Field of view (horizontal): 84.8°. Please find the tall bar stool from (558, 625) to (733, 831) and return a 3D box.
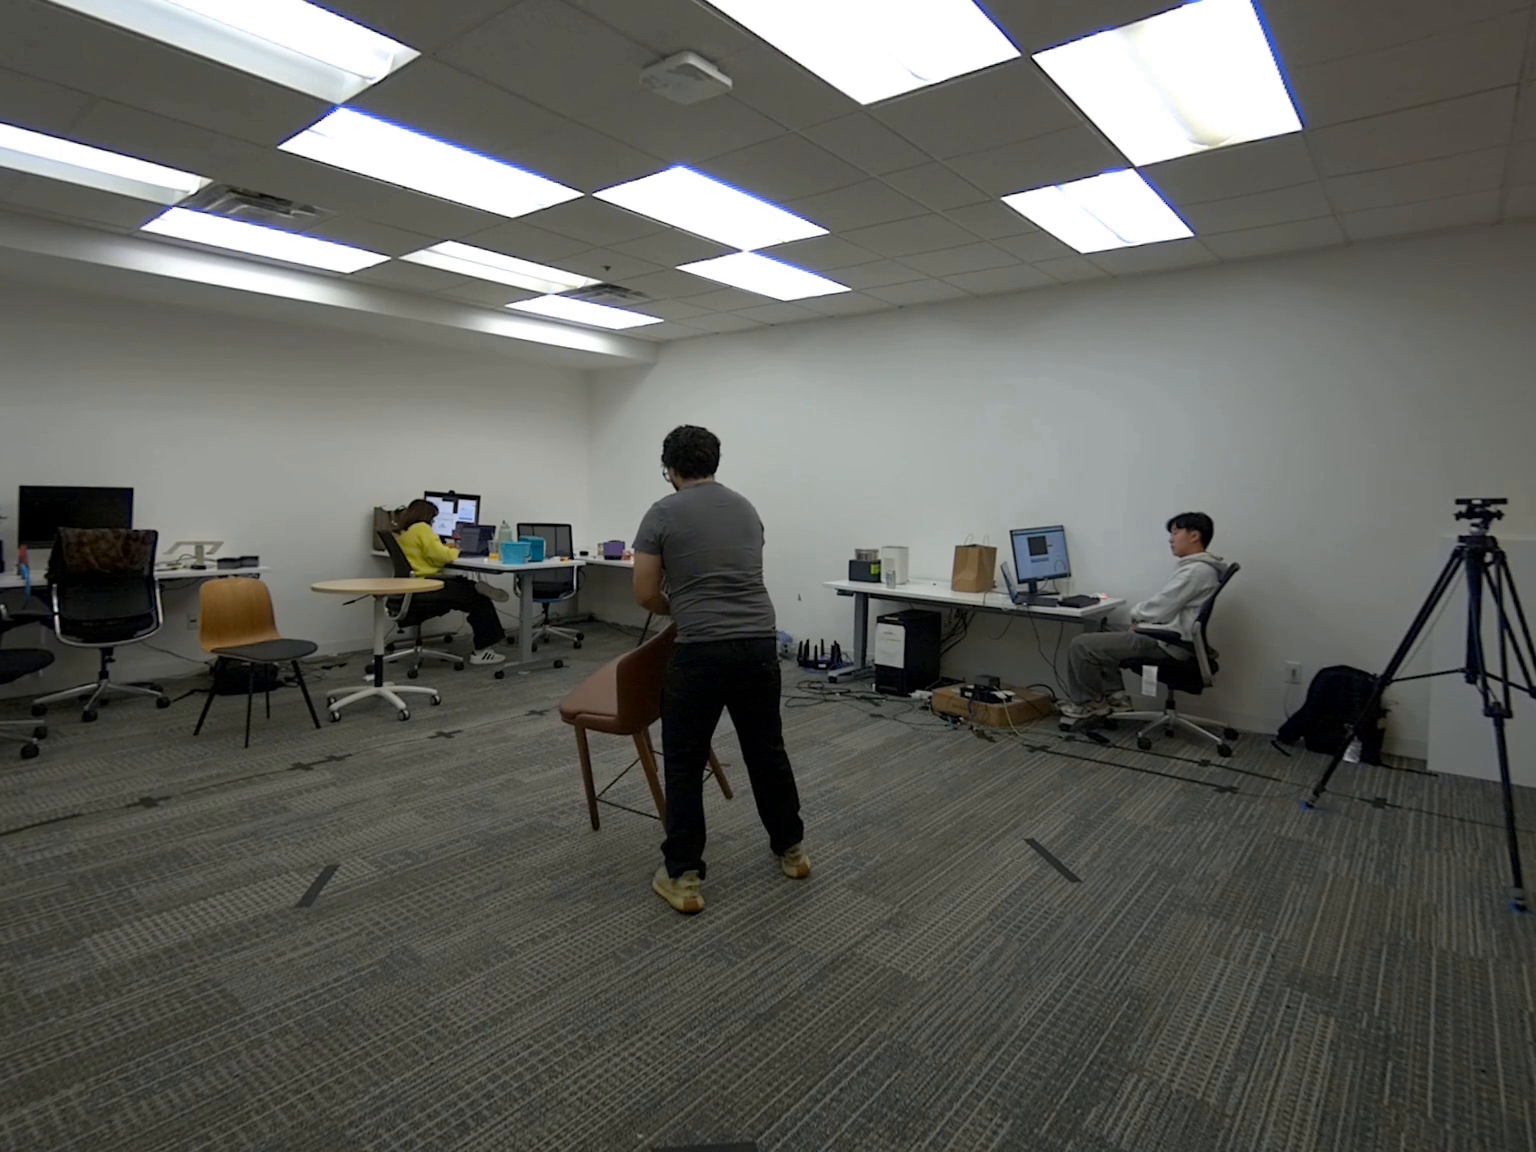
[{"bbox_3d":[-0.508,0.574,3.311,0.484,0.869,0.452,8,28,35],"label":"tall bar stool"}]
